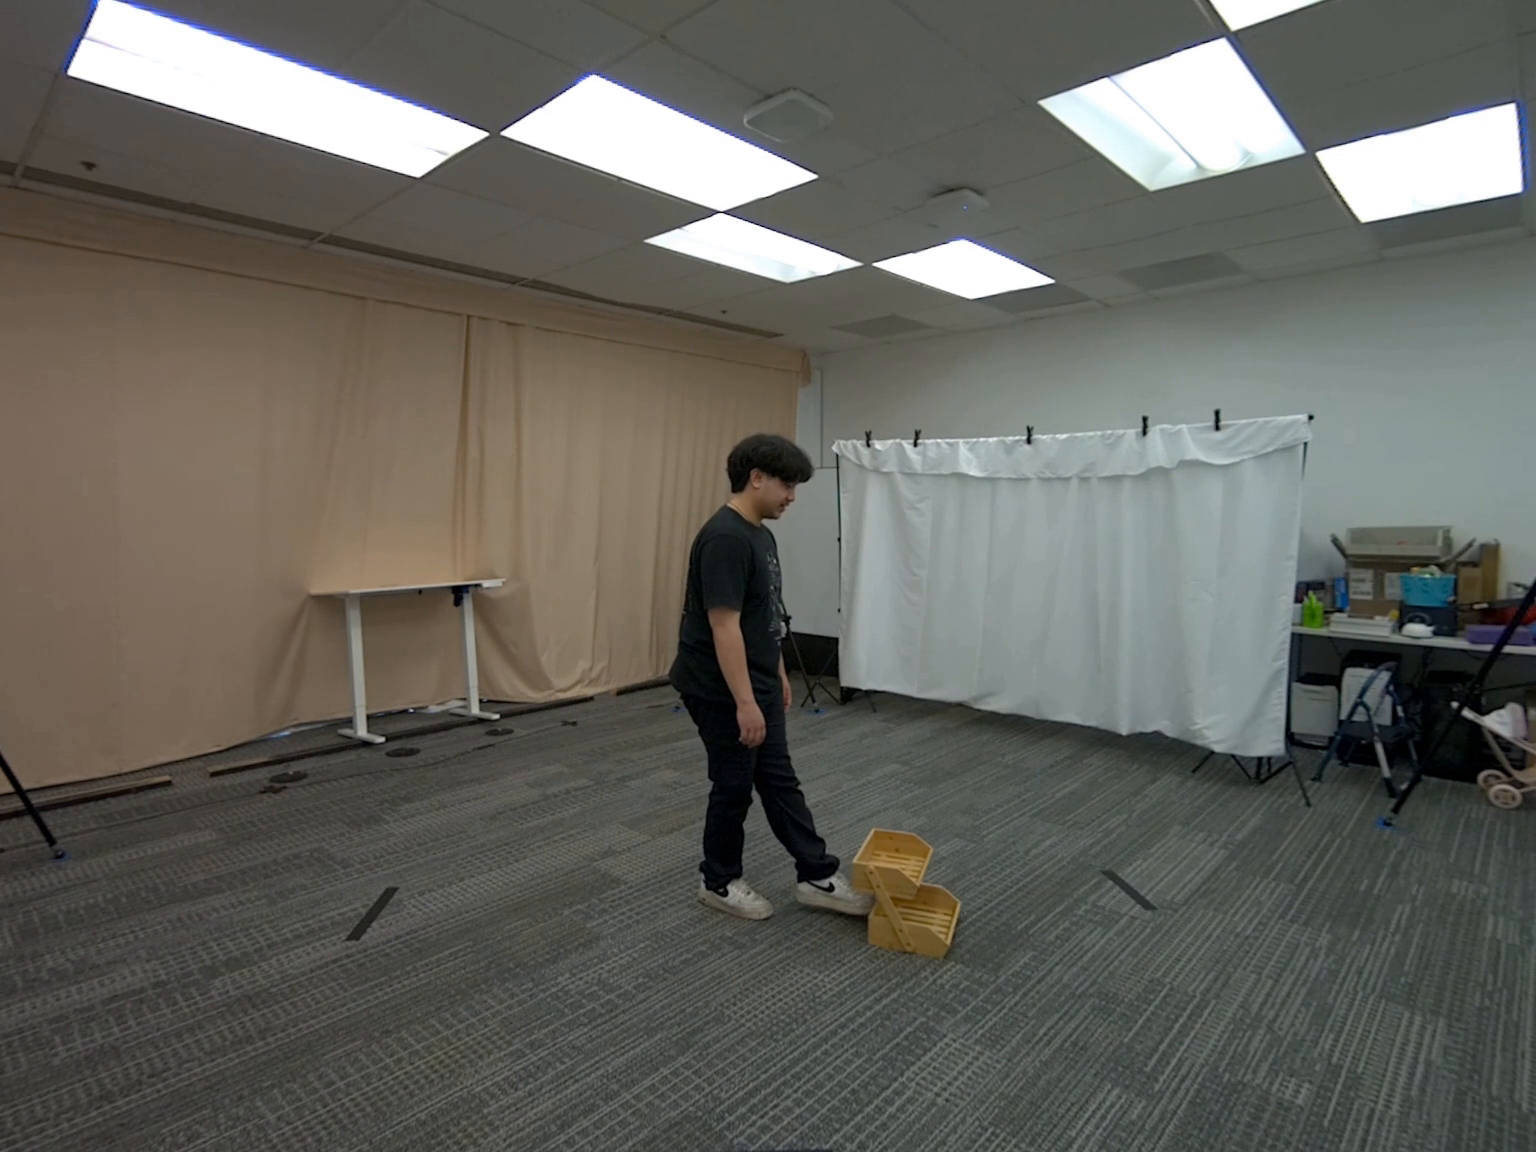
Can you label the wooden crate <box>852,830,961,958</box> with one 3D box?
[{"bbox_3d":[0.470,1.029,2.760,0.309,0.273,0.318,1,4,21],"label":"wooden crate"}]
